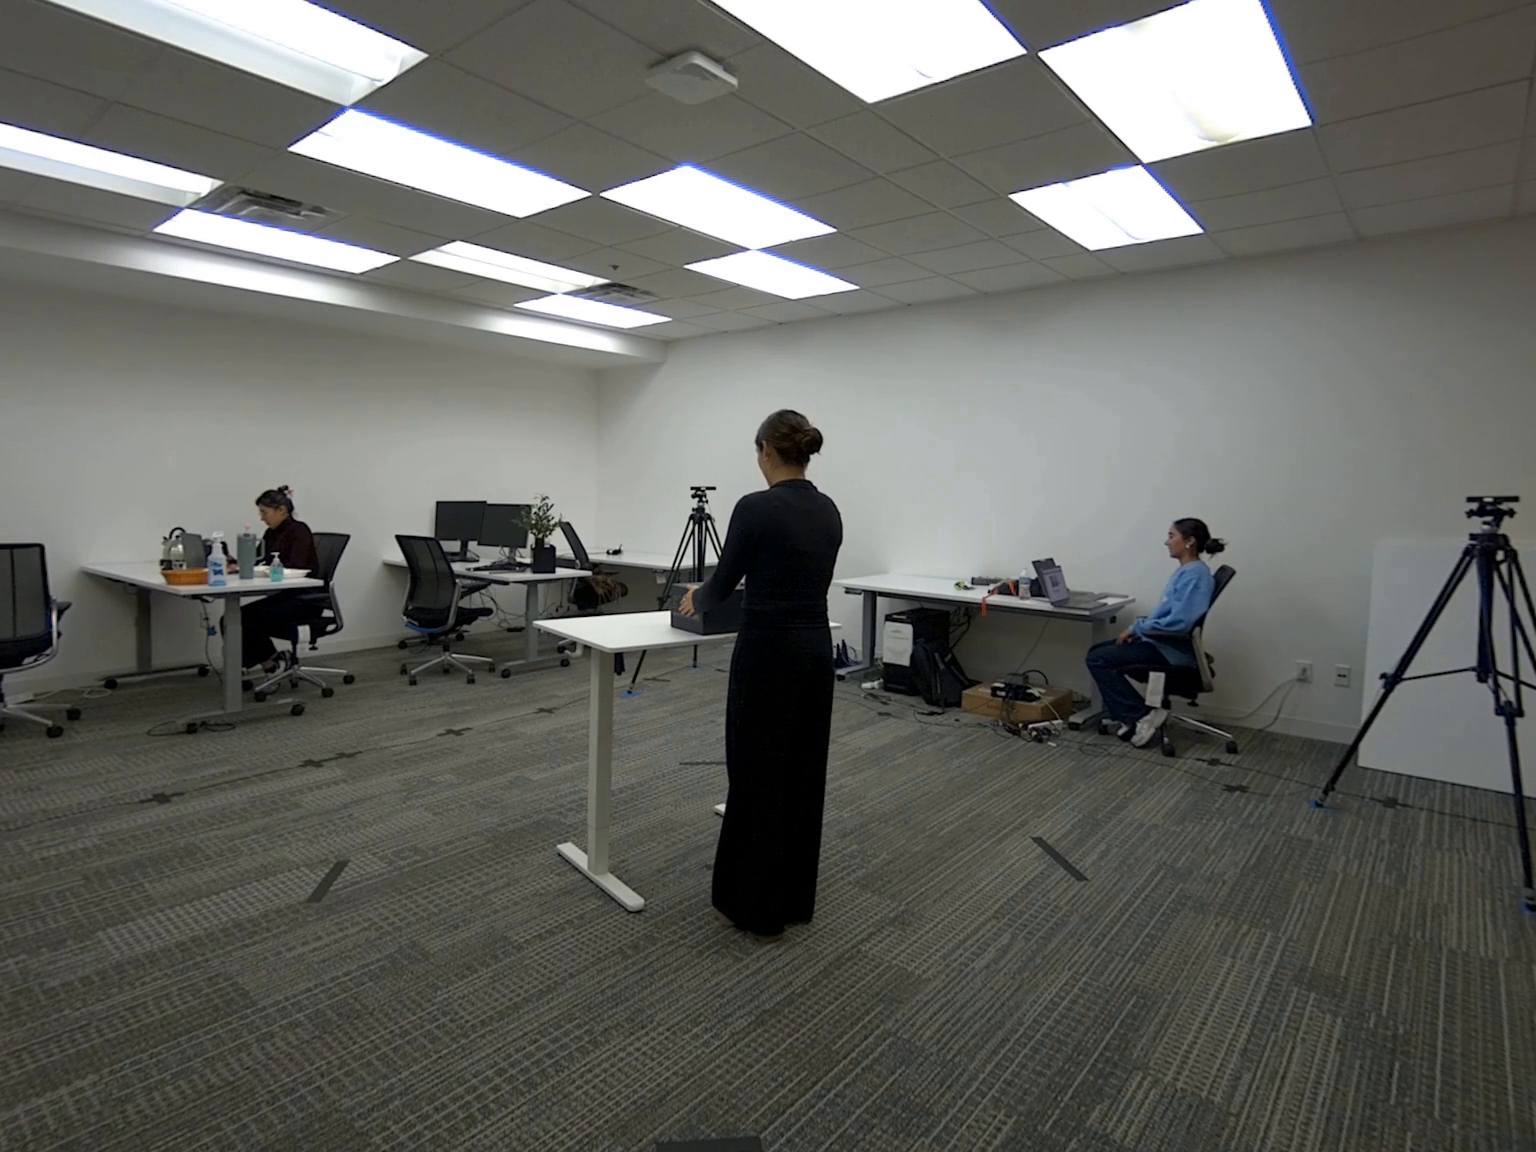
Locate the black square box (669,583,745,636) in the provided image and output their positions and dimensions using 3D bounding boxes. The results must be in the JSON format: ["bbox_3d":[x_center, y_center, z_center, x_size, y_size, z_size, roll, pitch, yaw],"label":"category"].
[{"bbox_3d":[-0.212,0.109,3.058,0.221,0.155,0.224,-2,6,-36],"label":"black square box"}]
